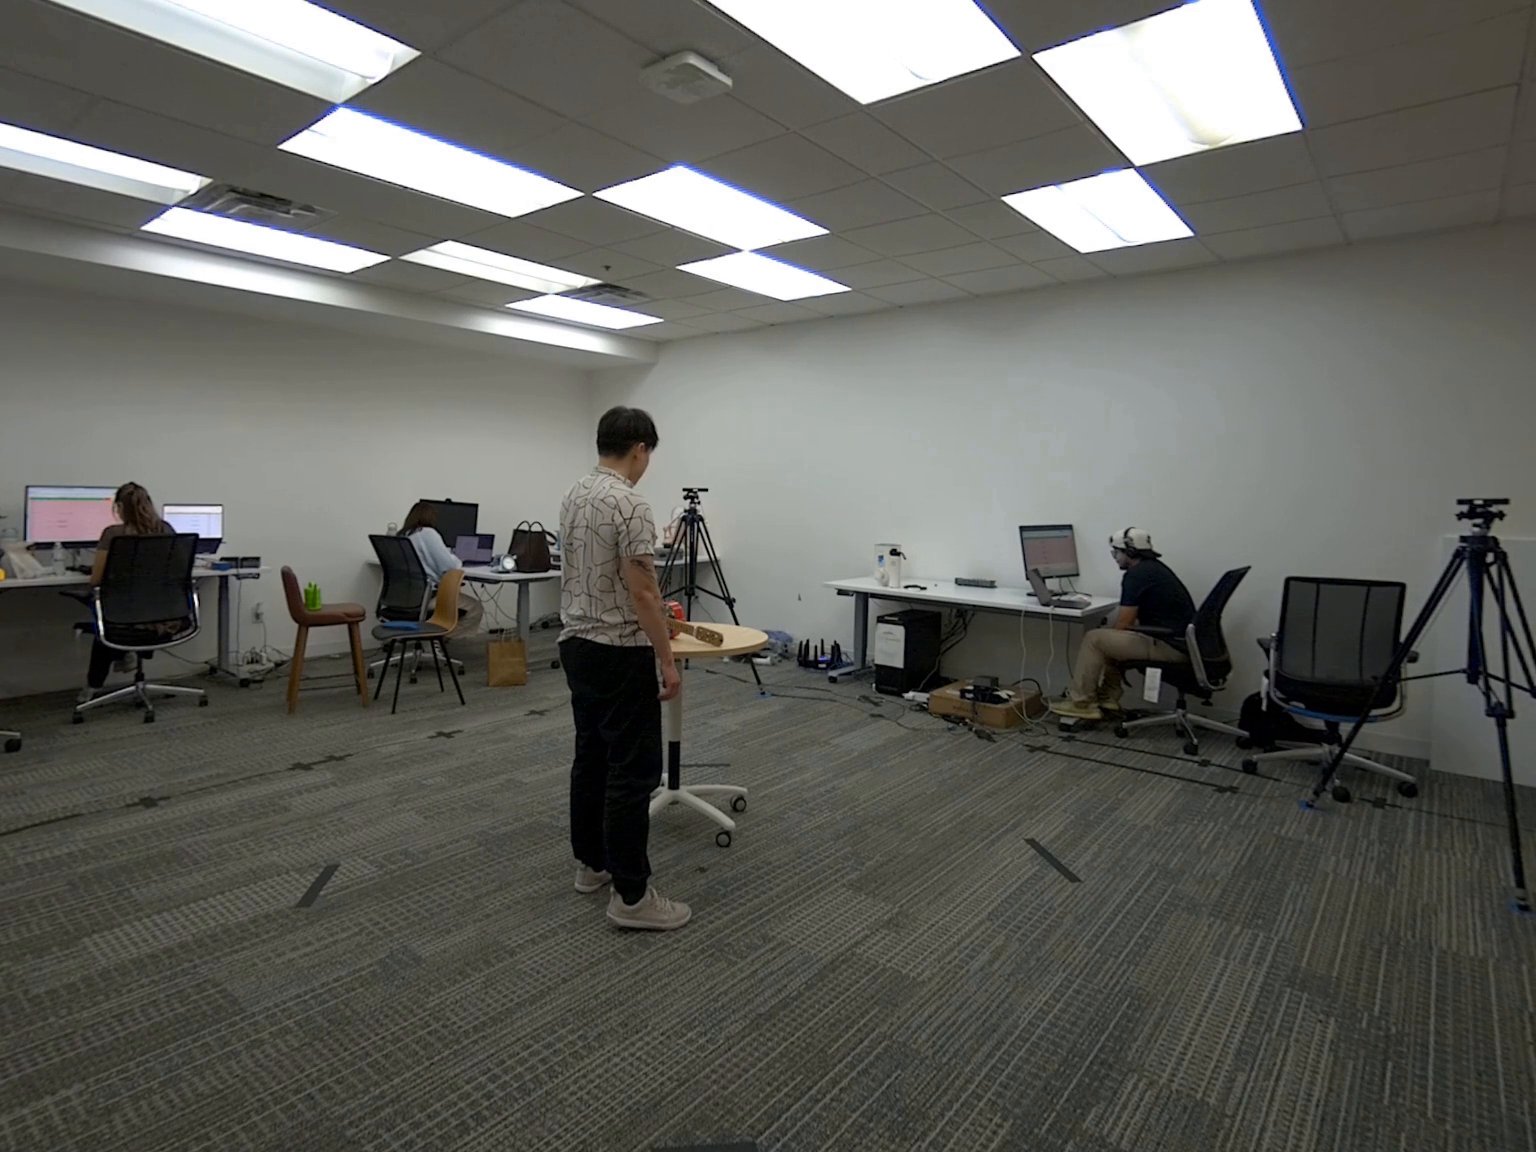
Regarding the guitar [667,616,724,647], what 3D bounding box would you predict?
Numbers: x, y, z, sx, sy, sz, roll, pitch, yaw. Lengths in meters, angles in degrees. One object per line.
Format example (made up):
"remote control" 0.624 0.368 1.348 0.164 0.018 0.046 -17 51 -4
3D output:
"guitar" -0.394 0.211 3.409 0.516 0.191 0.069 25 15 30
